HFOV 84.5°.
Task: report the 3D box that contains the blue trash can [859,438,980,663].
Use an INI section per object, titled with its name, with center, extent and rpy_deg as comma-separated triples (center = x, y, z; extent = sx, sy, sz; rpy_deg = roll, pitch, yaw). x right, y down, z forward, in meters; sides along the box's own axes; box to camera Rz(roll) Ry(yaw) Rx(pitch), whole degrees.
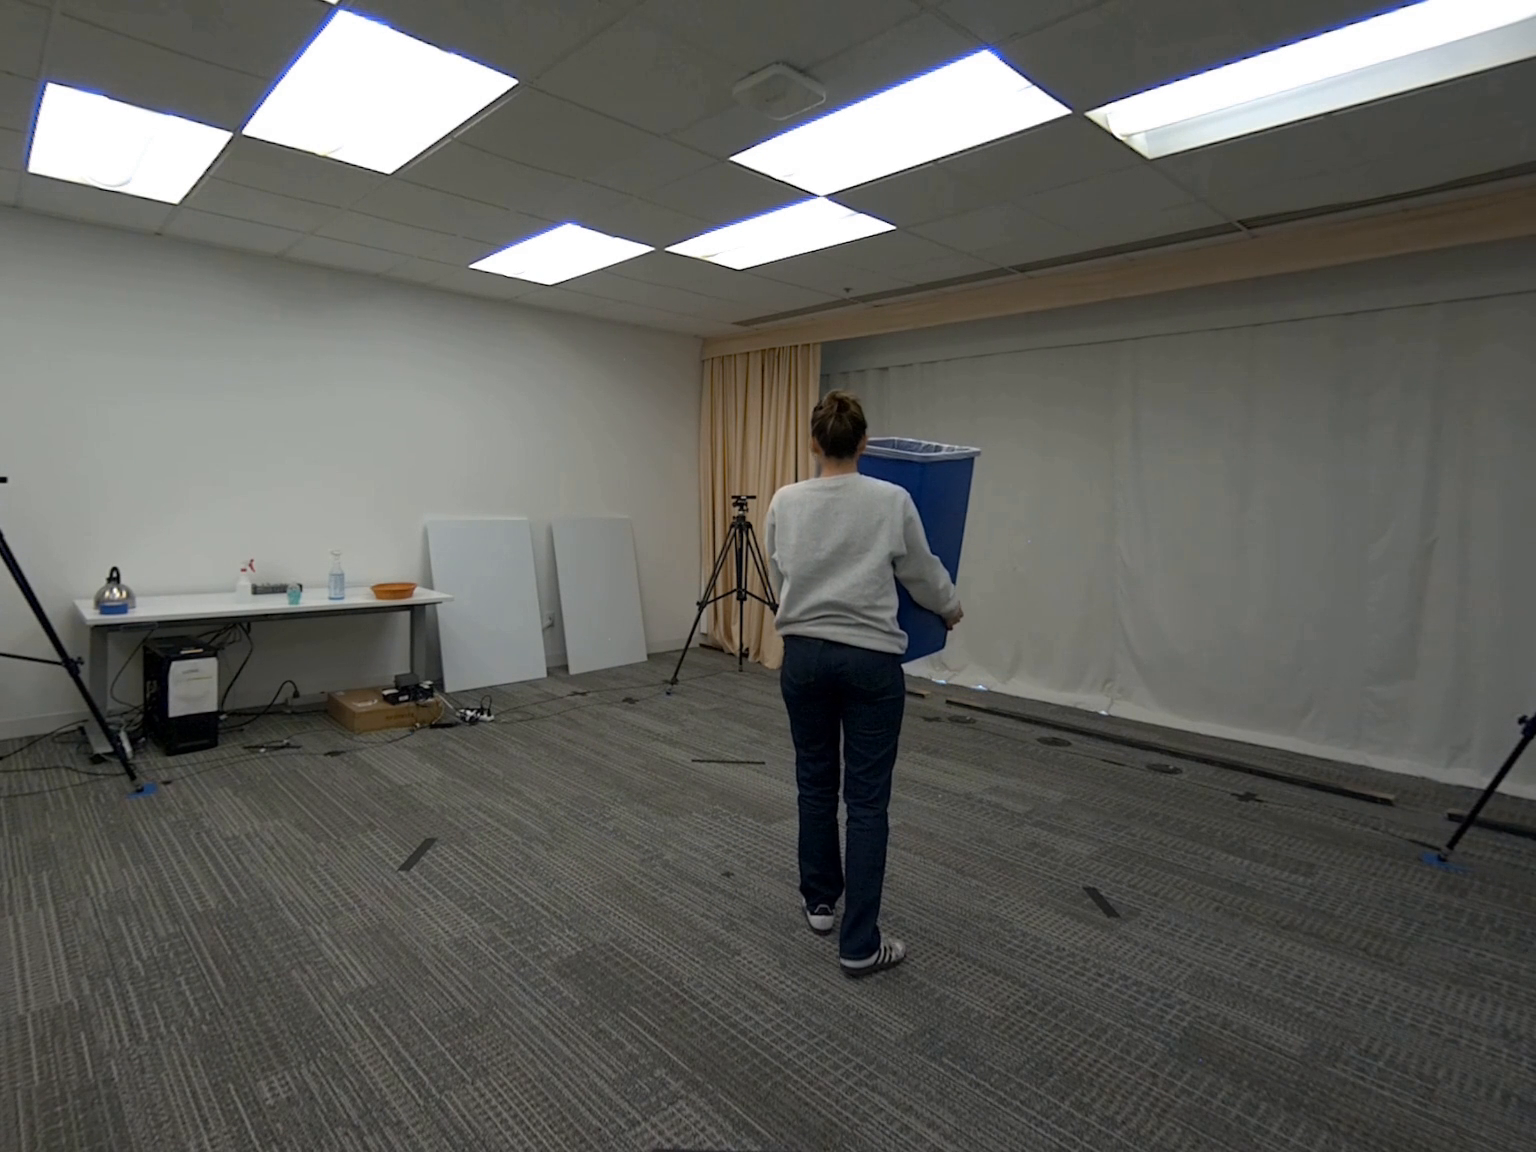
[blue trash can]
center = 0.447, -0.099, 2.907
extent = 0.389, 0.707, 0.367
rpy_deg = 15, 17, 42
